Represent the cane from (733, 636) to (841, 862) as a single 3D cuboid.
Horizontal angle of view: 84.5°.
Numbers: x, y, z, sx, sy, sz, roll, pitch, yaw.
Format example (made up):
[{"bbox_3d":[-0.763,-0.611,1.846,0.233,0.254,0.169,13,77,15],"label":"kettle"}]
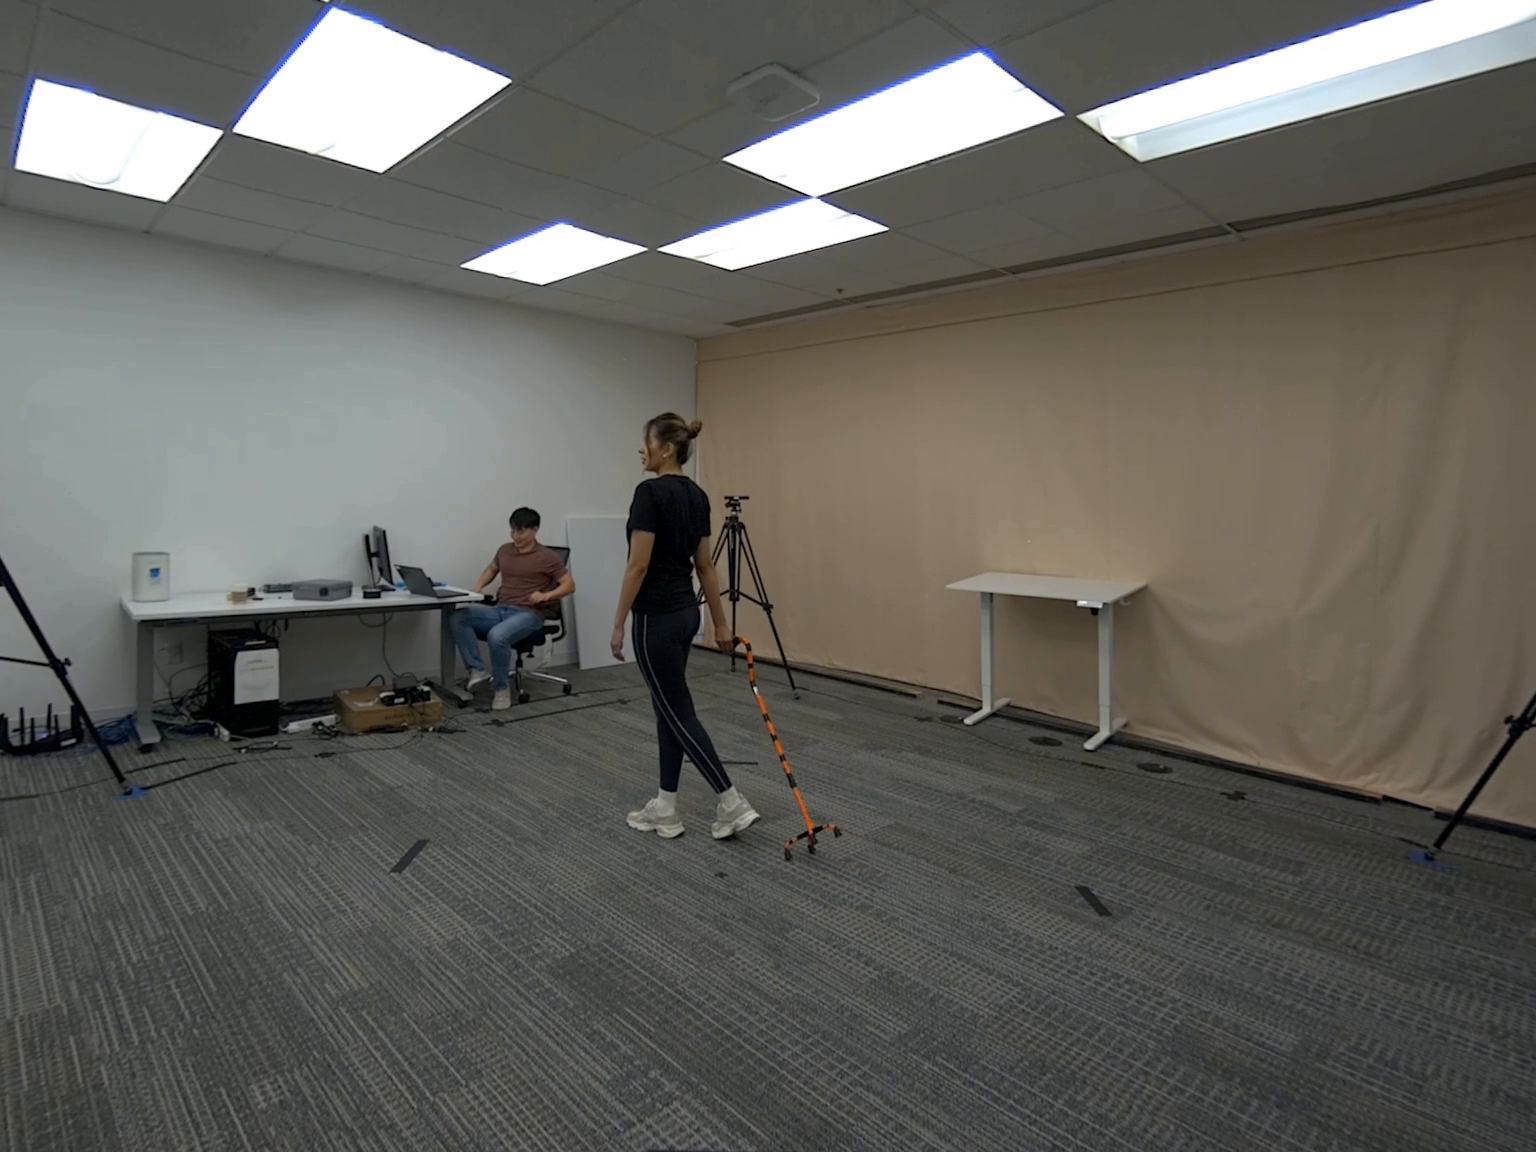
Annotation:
[{"bbox_3d":[0.013,0.662,3.419,0.148,0.930,0.206,2,-35,-39],"label":"cane"}]
